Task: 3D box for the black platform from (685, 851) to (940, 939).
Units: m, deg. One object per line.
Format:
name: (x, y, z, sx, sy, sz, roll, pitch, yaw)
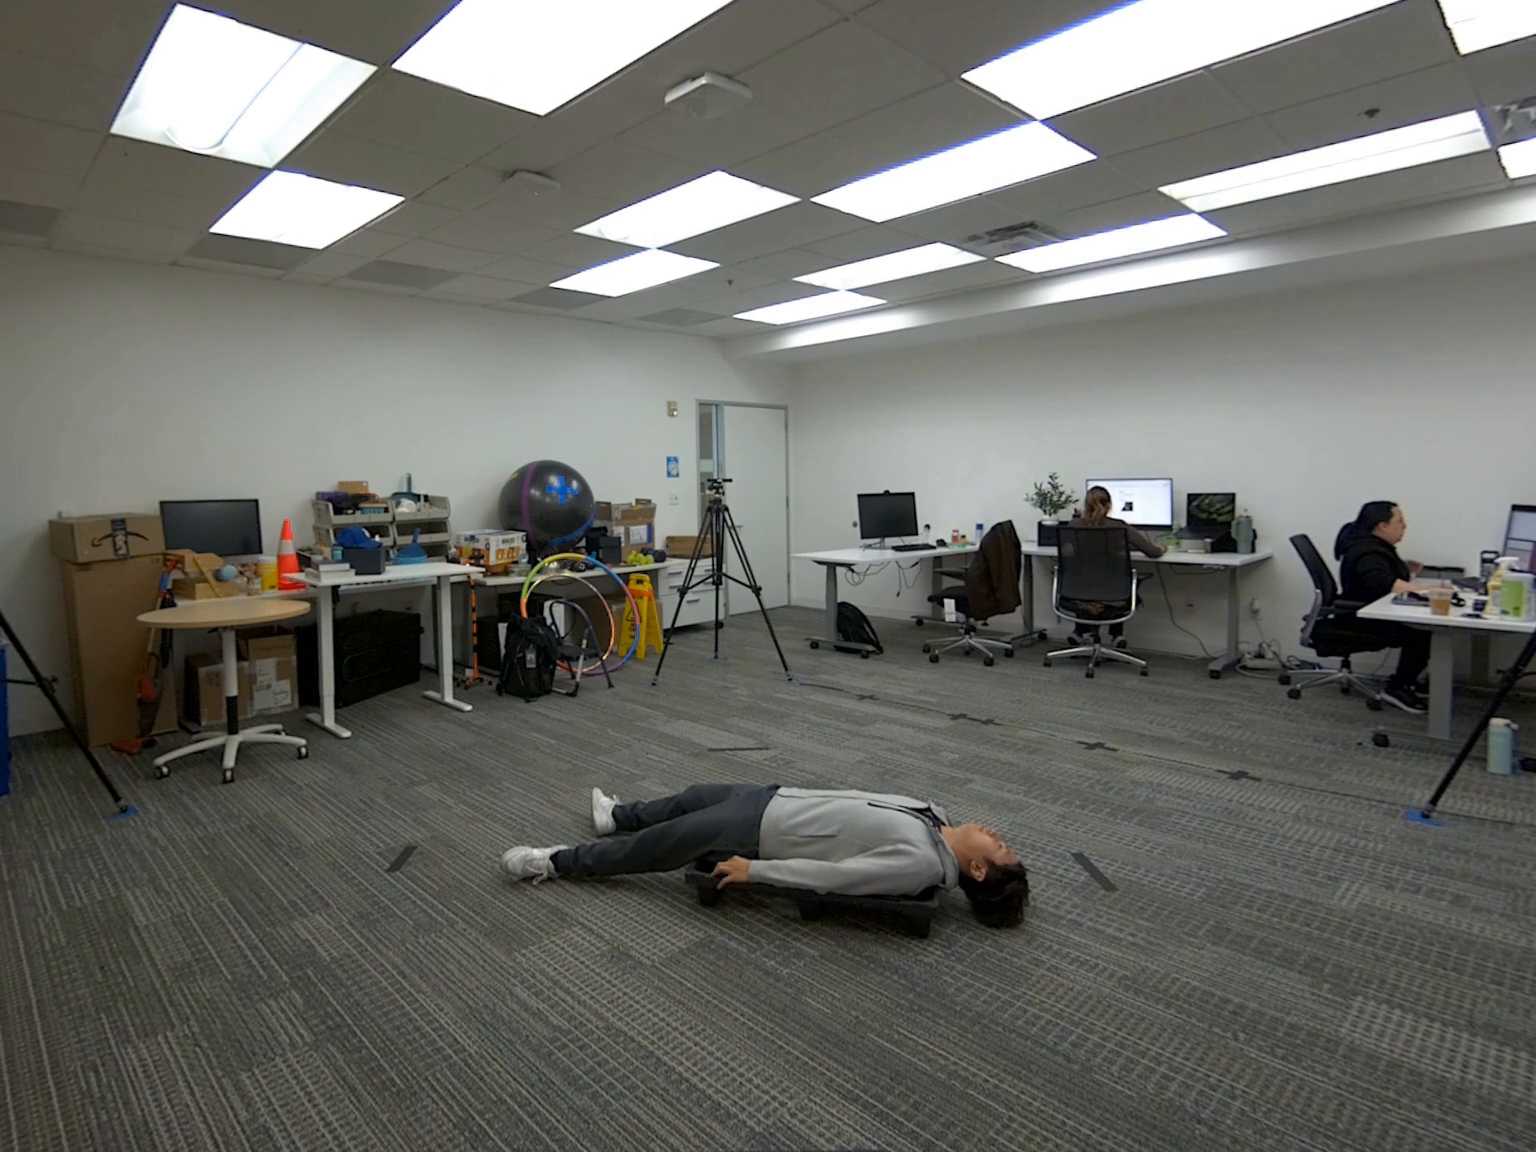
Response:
black platform: (0.194, 0.981, 2.914, 0.821, 0.143, 0.595, 2, 4, 19)
